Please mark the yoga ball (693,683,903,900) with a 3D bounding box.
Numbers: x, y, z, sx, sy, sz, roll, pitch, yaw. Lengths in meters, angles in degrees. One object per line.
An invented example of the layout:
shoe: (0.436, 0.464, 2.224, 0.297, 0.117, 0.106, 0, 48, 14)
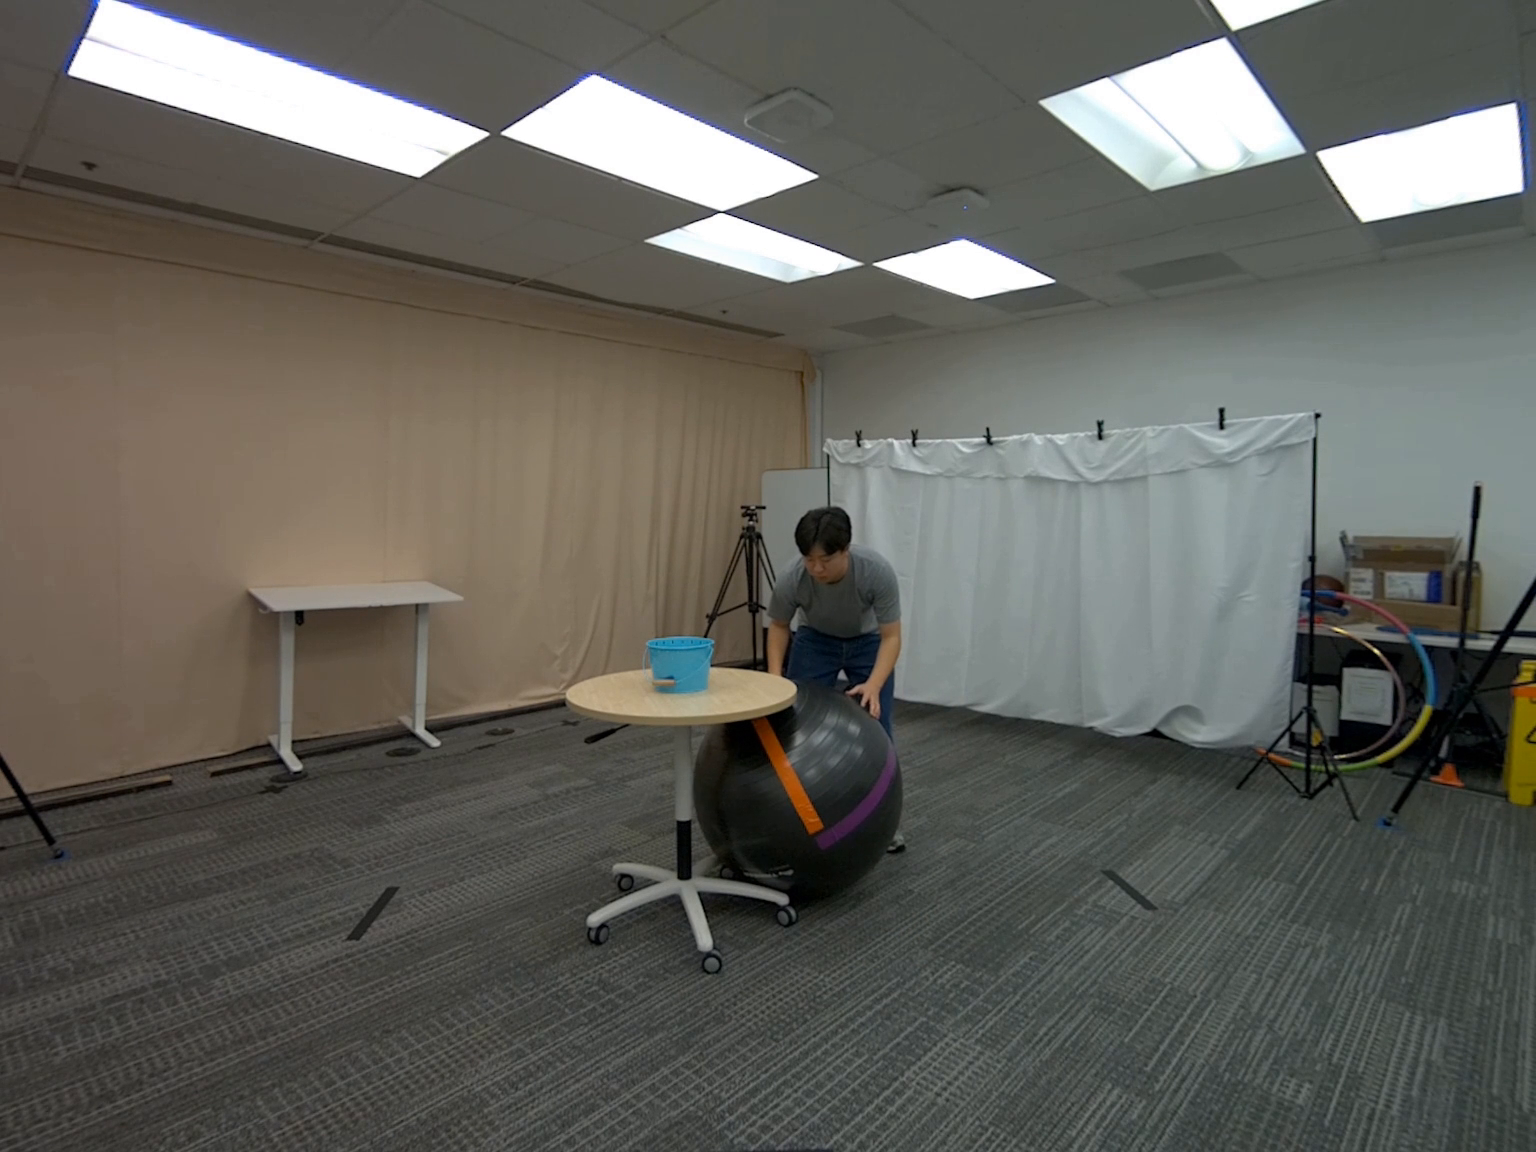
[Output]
yoga ball: (0.120, 0.768, 3.062, 0.757, 0.756, 0.760, 0, 4, -2)
